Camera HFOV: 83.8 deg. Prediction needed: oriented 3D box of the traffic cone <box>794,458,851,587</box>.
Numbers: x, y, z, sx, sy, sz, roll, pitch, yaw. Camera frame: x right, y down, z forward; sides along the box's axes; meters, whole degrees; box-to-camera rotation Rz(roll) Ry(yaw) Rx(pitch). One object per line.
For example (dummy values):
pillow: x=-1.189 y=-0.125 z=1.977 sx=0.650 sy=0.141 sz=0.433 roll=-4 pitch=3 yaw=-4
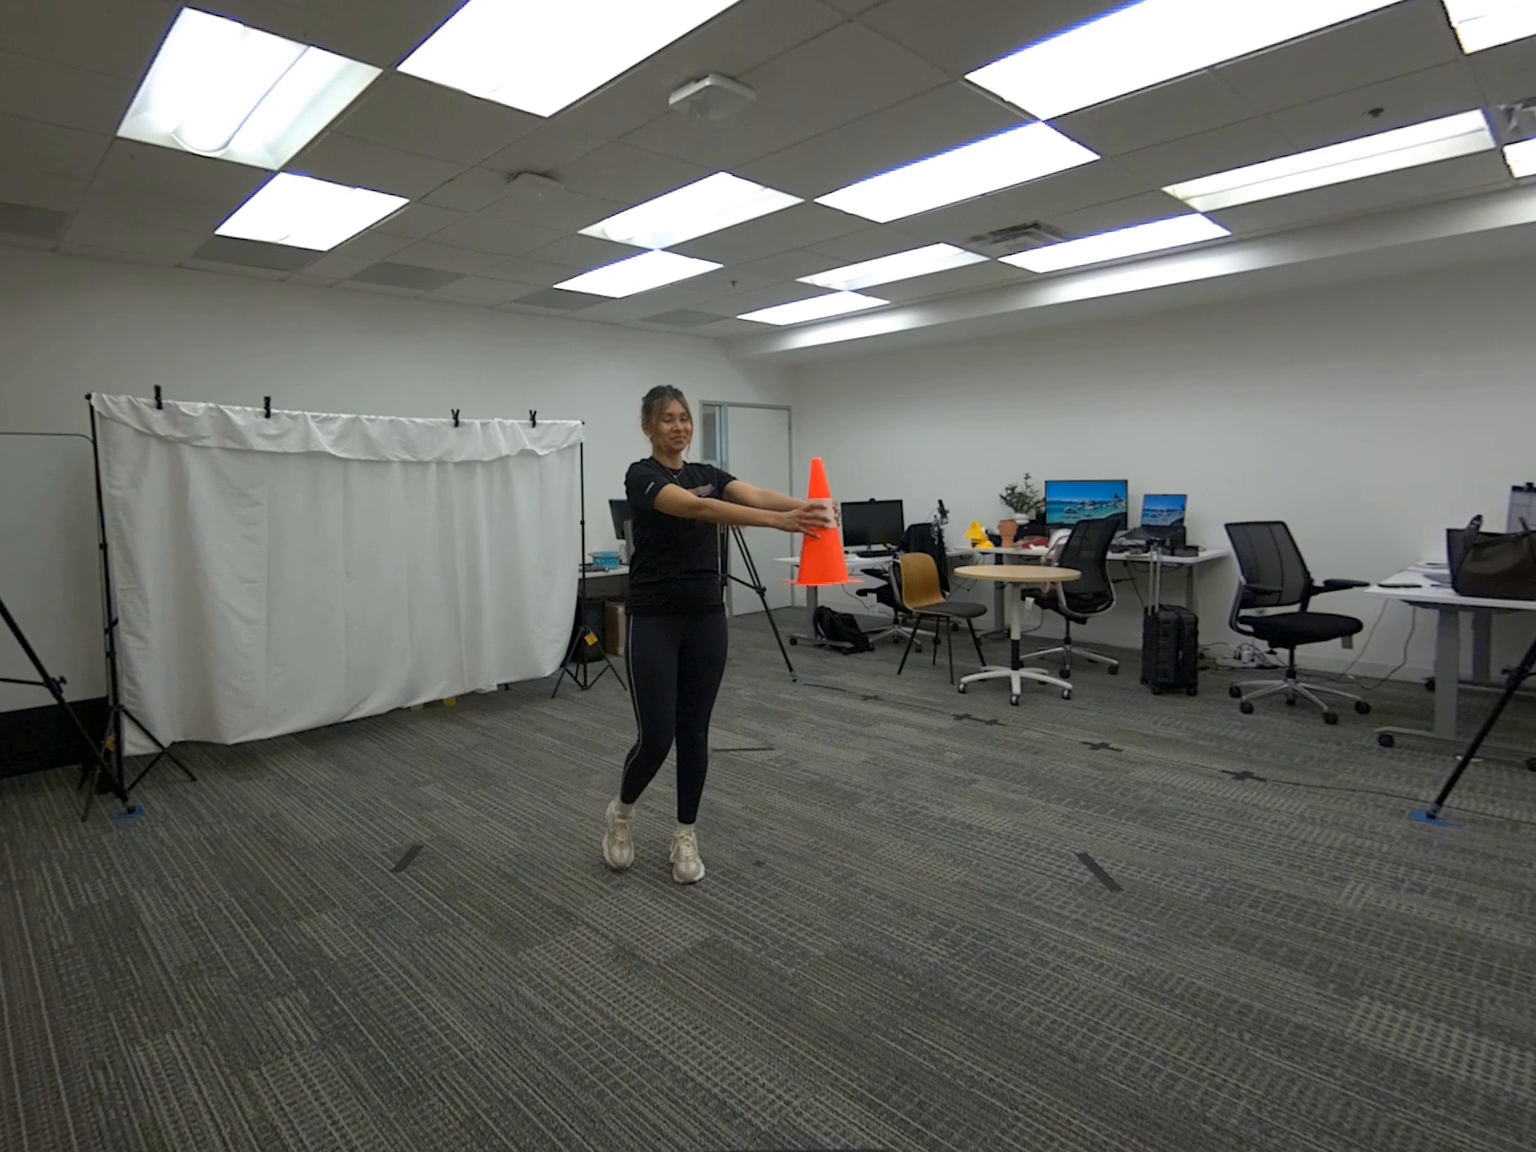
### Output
traffic cone: x=0.164 y=-0.171 z=2.619 sx=0.200 sy=0.384 sz=0.208 roll=-3 pitch=0 yaw=-34
